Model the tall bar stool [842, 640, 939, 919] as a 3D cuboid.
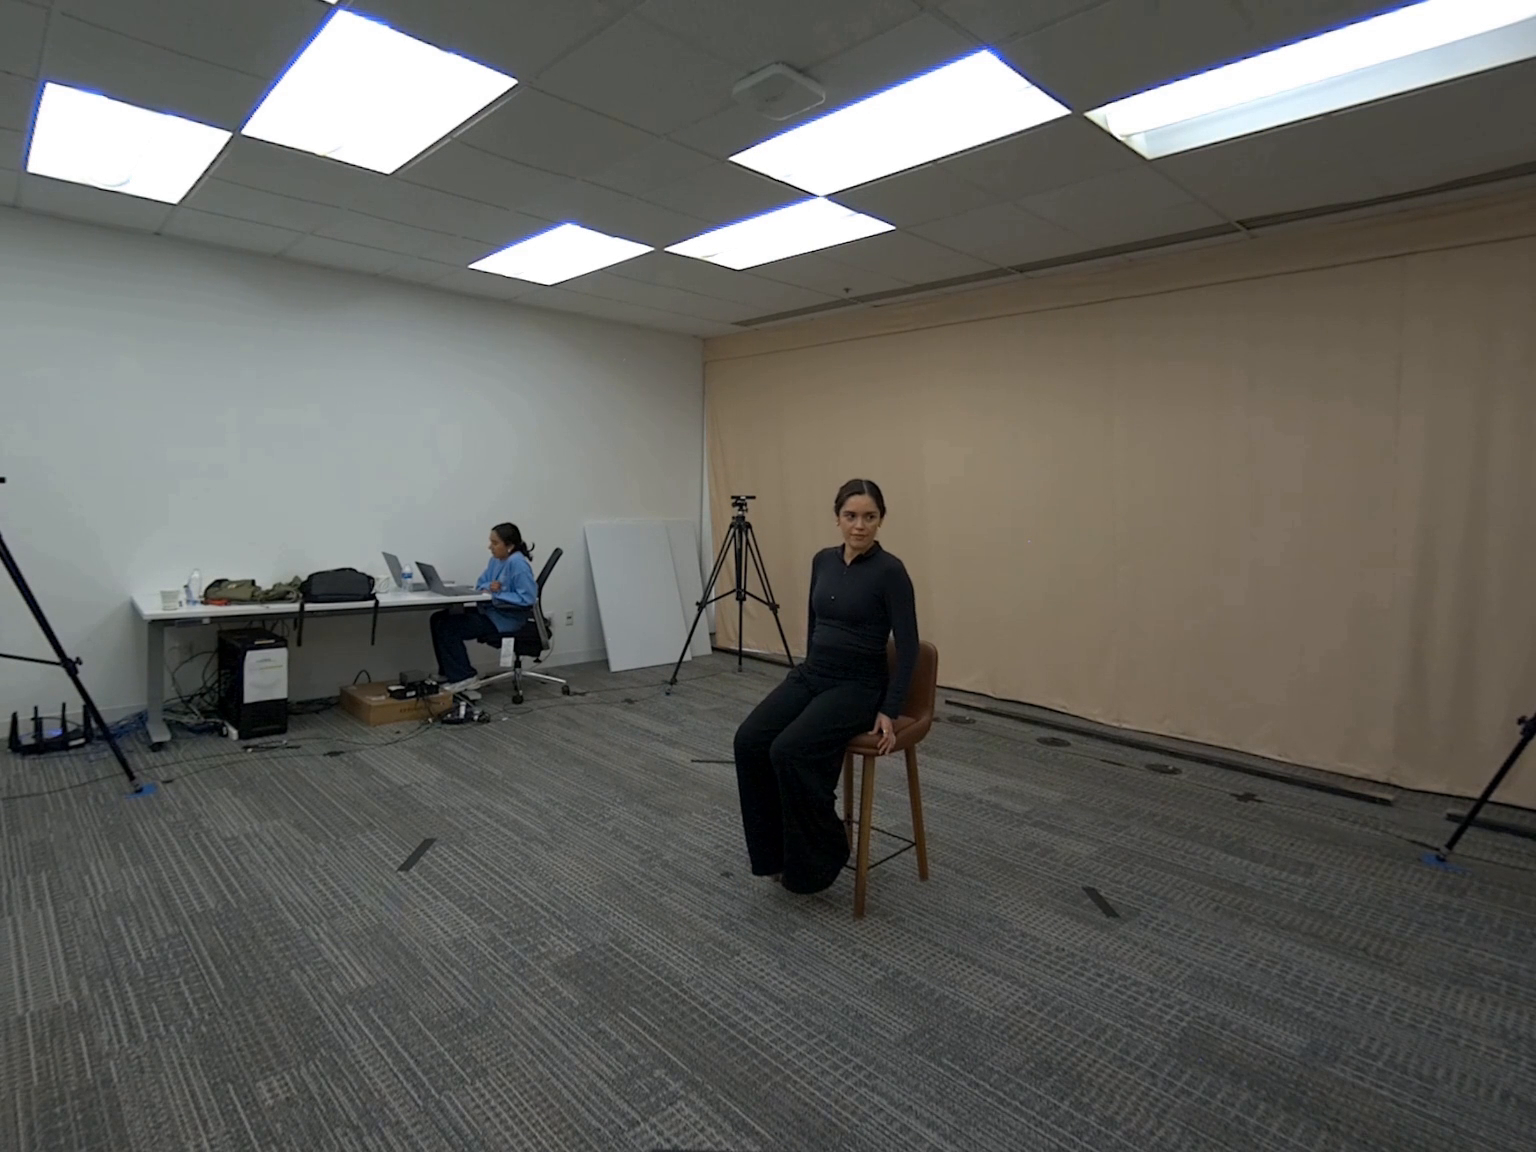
[{"bbox_3d":[0.328,0.684,3.066,0.468,0.888,0.456,6,4,44],"label":"tall bar stool"}]
